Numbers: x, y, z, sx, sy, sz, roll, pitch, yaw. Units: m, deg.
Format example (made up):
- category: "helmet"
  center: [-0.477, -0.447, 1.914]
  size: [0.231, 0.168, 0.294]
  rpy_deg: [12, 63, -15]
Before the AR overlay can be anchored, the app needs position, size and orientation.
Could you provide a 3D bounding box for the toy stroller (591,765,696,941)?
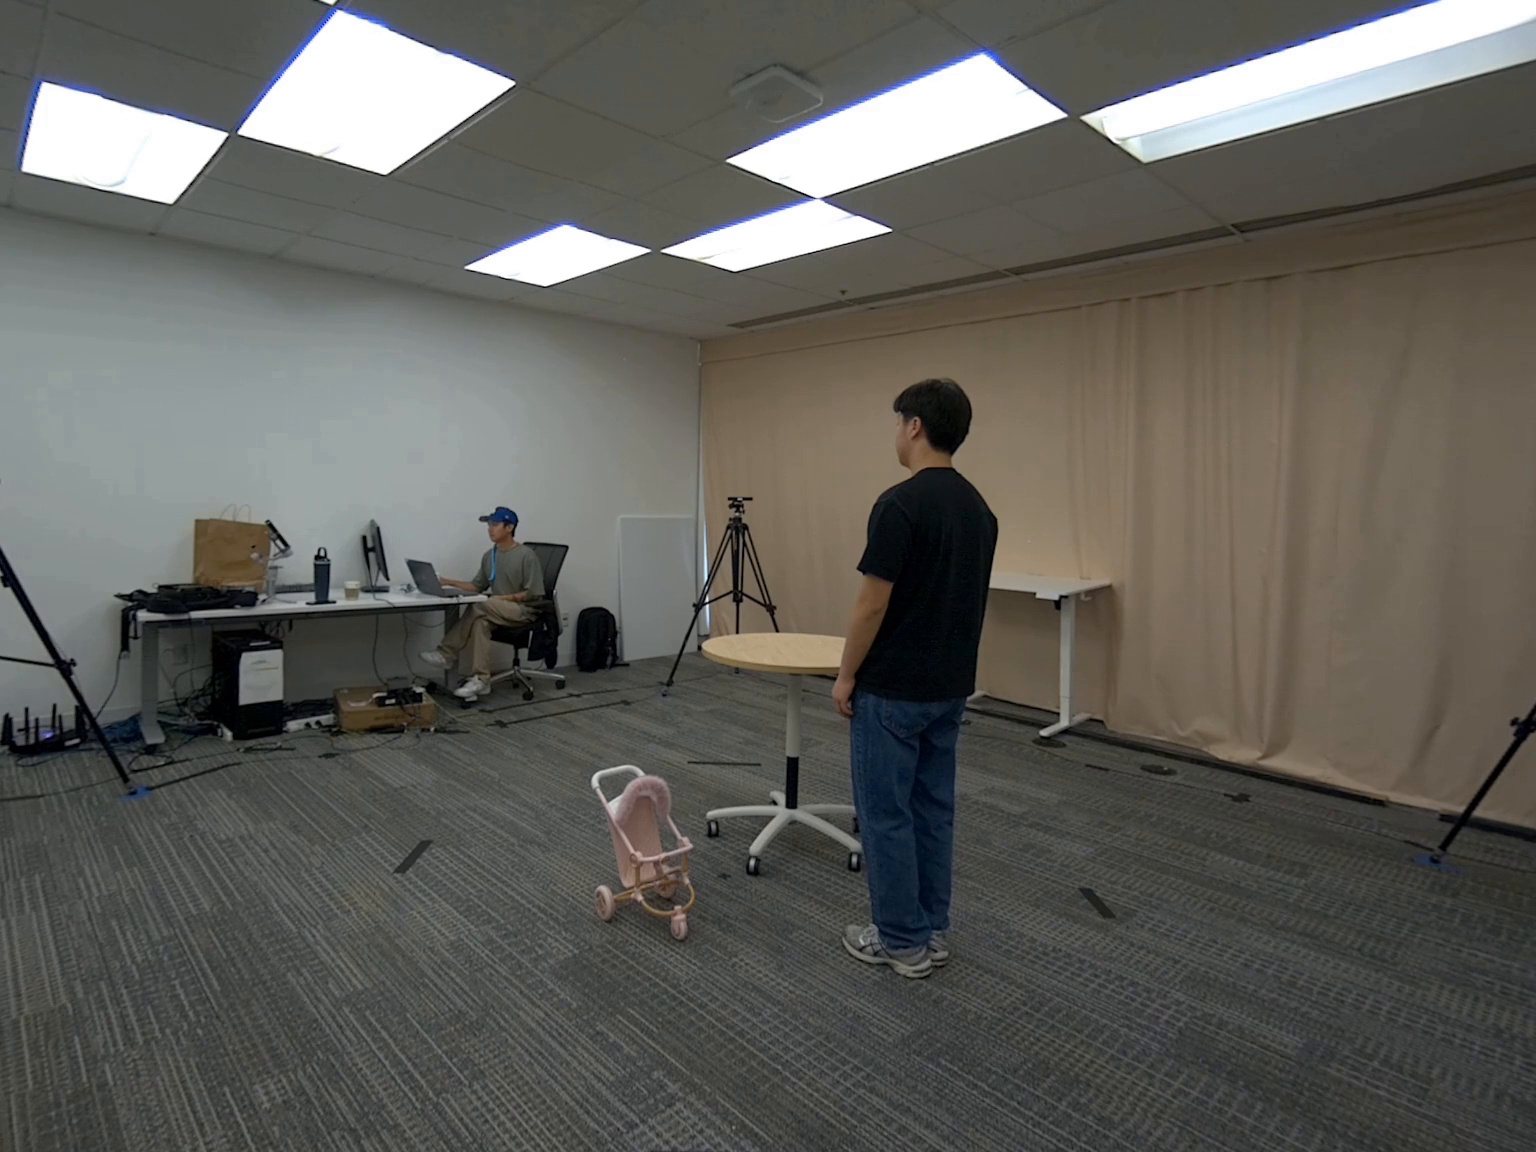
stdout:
- category: "toy stroller"
  center: [-0.410, 0.905, 2.785]
  size: [0.275, 0.539, 0.346]
  rpy_deg: [-1, -12, -37]
